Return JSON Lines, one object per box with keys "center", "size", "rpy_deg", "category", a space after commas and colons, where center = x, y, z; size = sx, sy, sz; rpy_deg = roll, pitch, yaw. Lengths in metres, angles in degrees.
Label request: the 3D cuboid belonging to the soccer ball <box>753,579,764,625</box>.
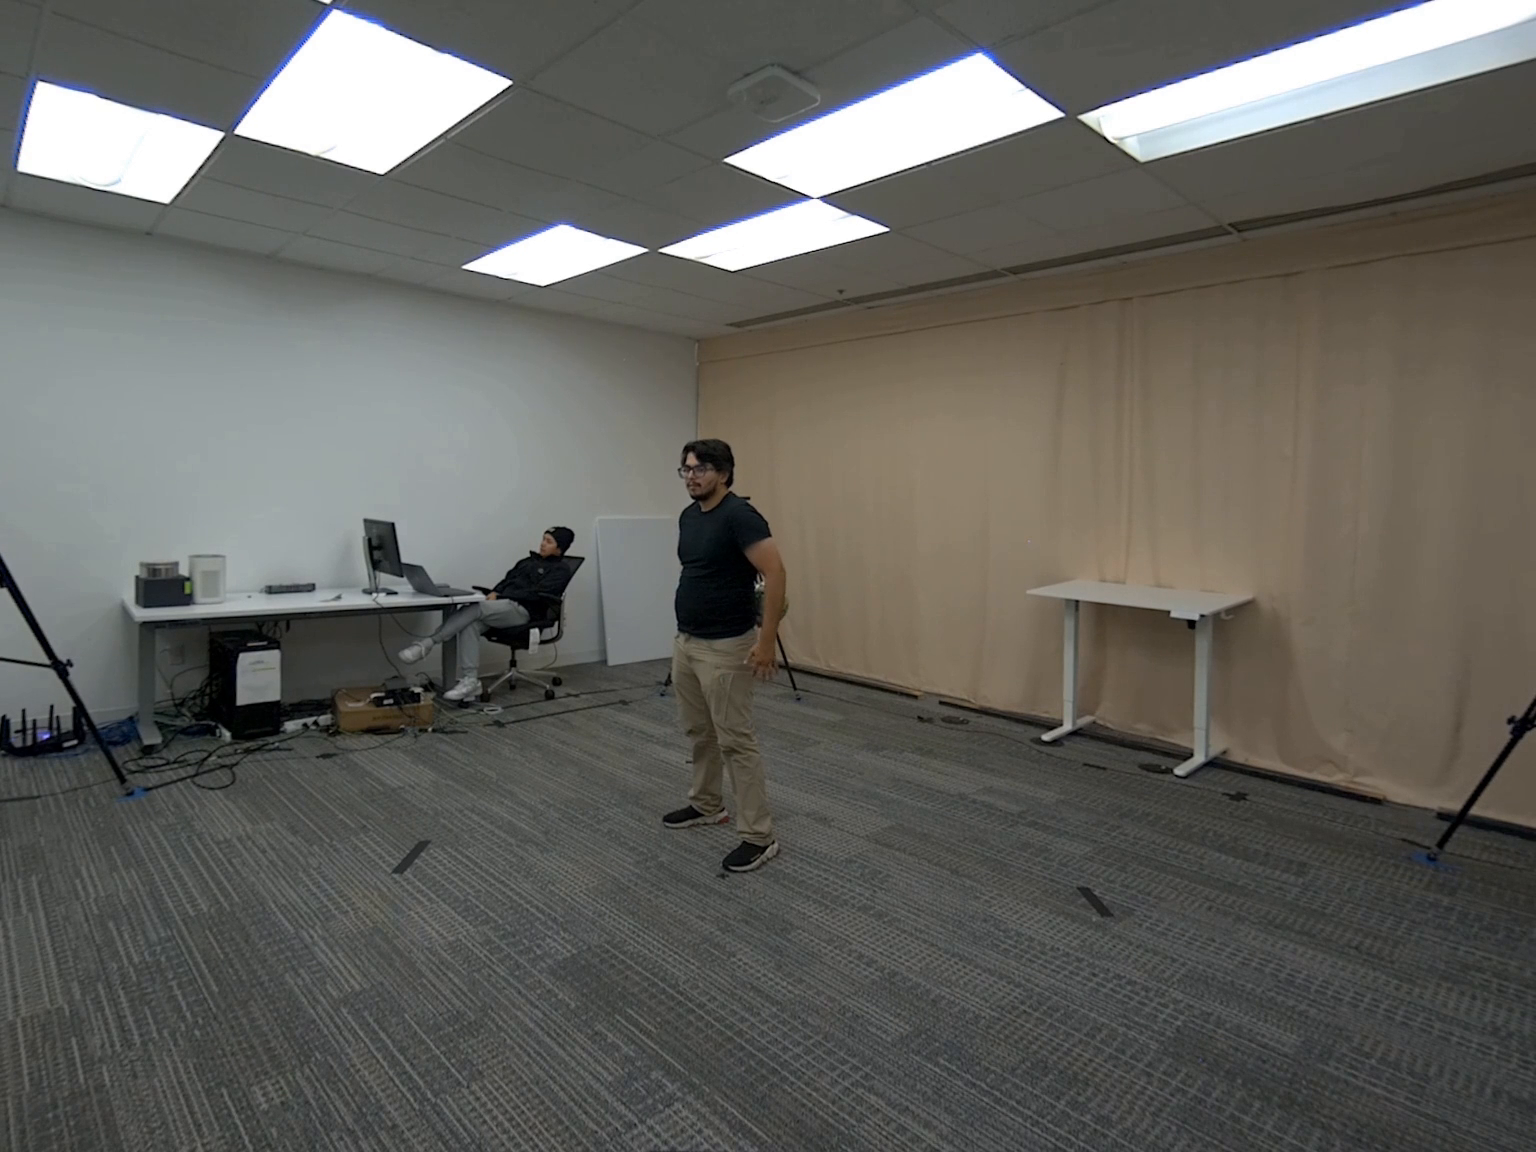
{"center": [-0.010, 0.115, 3.572], "size": [0.187, 0.187, 0.188], "rpy_deg": [1, 4, -1], "category": "soccer ball"}
